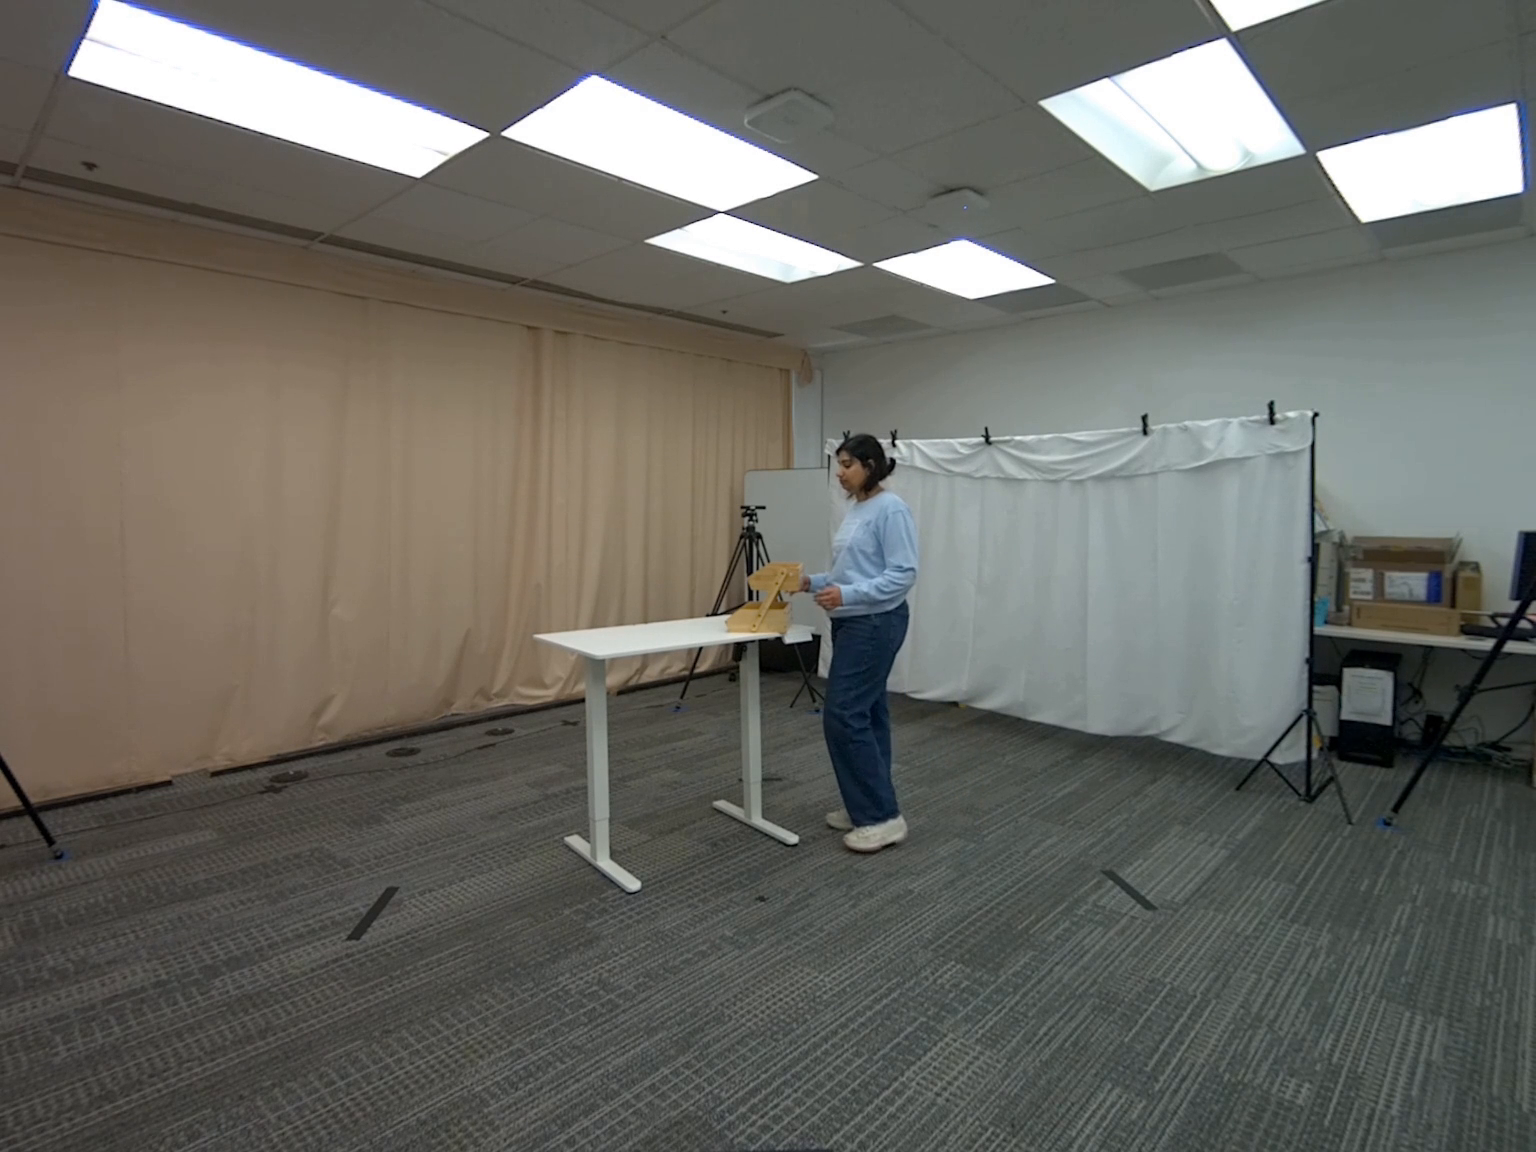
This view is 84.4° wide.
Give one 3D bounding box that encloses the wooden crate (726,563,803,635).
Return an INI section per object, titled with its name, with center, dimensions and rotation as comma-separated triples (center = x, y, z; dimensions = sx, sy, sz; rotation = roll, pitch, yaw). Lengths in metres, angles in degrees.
[wooden crate]
center = -0.010, 0.084, 3.509
dimensions = 0.304, 0.273, 0.322
rotation = 1, 3, 6
